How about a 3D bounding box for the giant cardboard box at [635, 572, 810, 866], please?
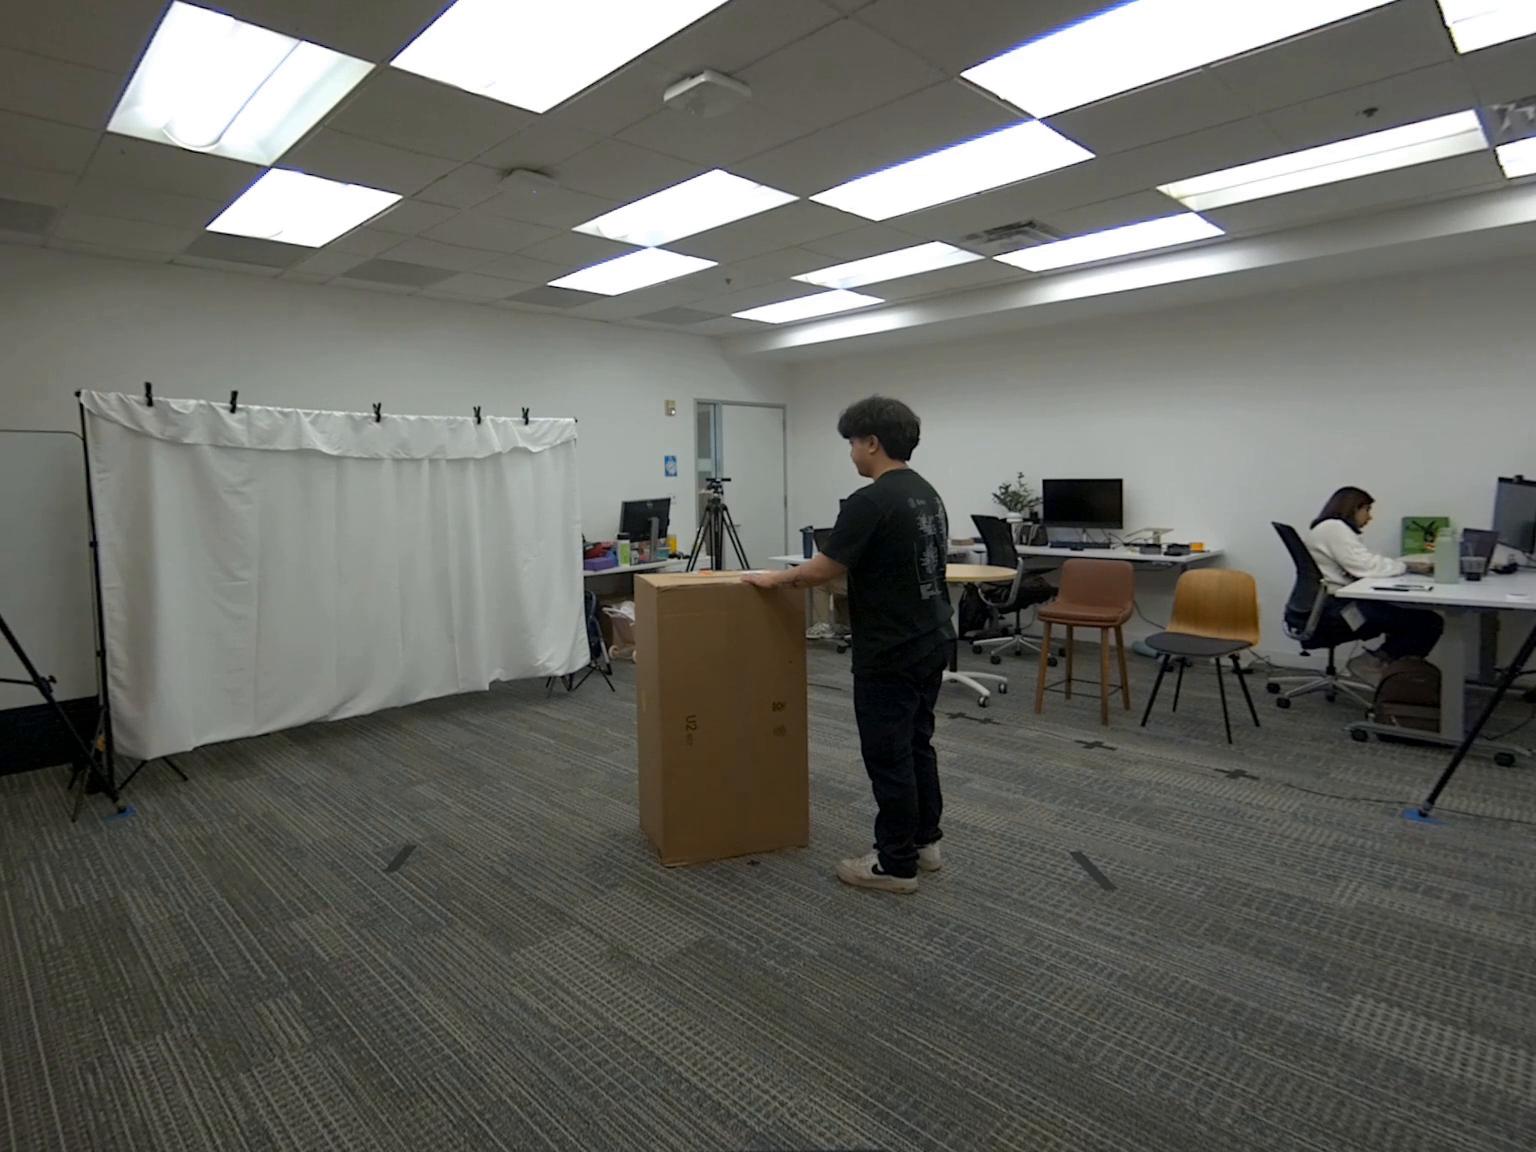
[{"bbox_3d":[-0.190,0.506,3.332,0.575,1.024,0.455,-2,4,-18],"label":"giant cardboard box"}]
